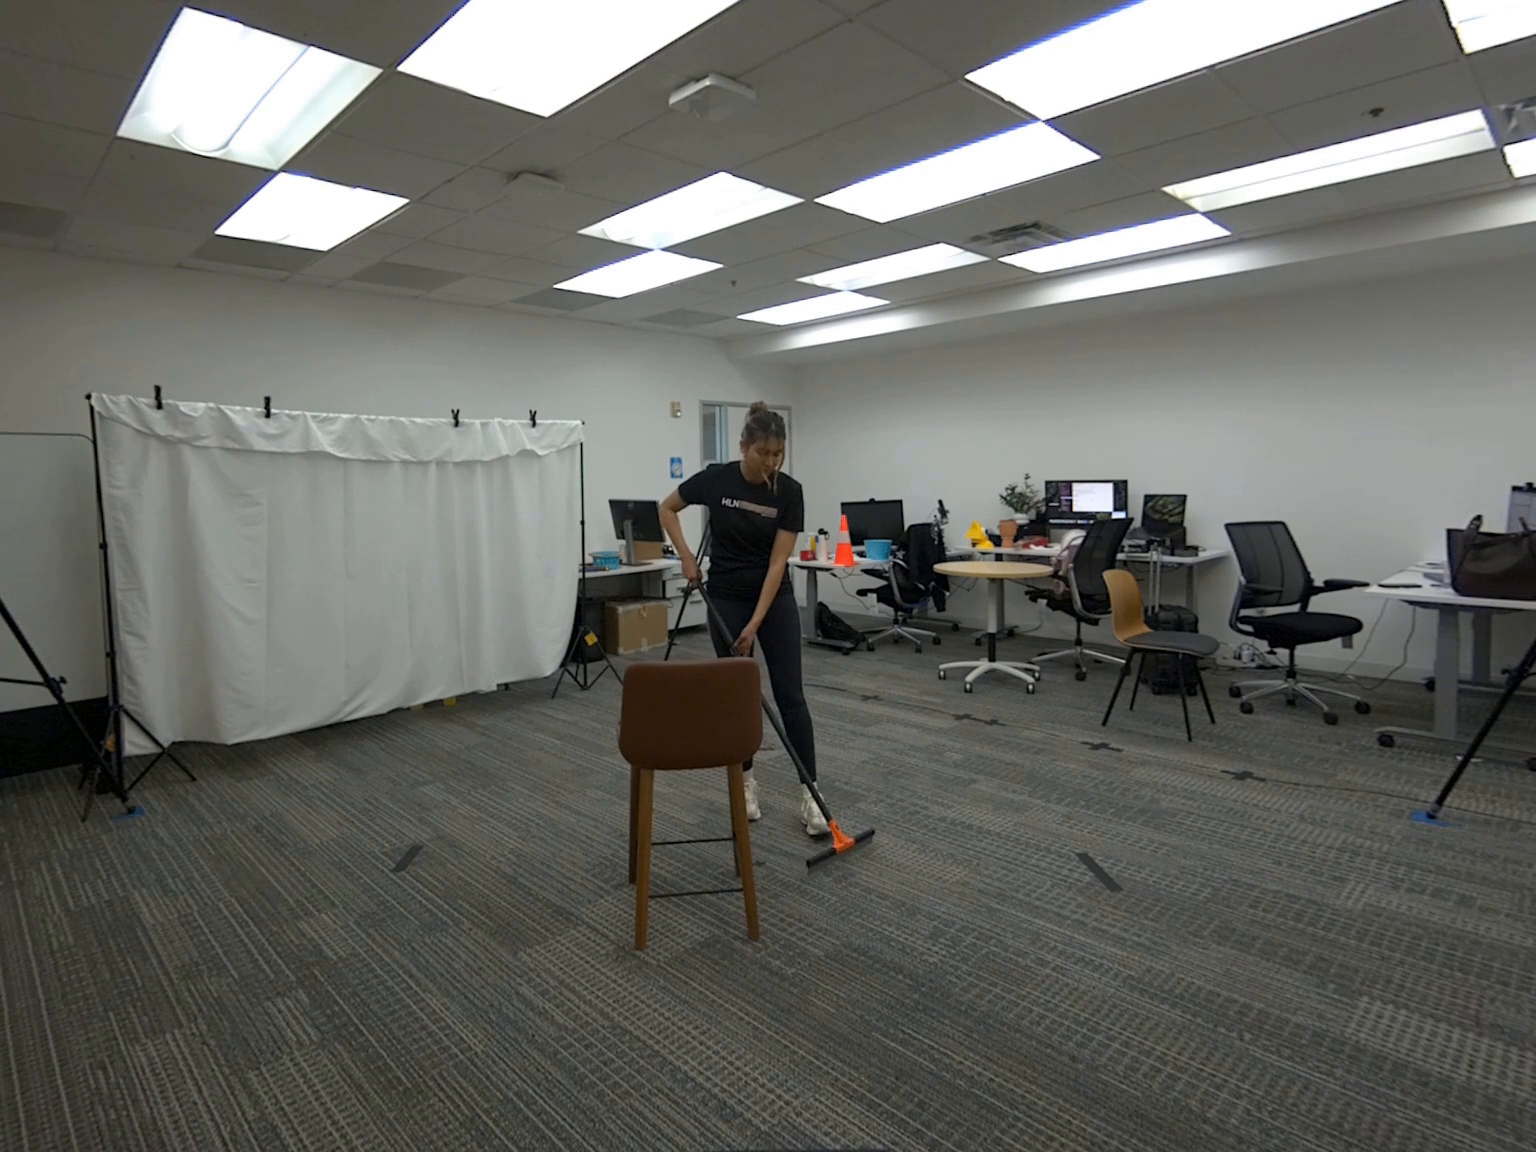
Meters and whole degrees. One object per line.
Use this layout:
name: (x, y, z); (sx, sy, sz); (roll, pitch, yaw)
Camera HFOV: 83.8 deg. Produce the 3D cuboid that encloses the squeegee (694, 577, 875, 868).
squeegee: (-0.094, 0.359, 3.359); (0.425, 1.581, 0.053); (-3, -37, -49)
